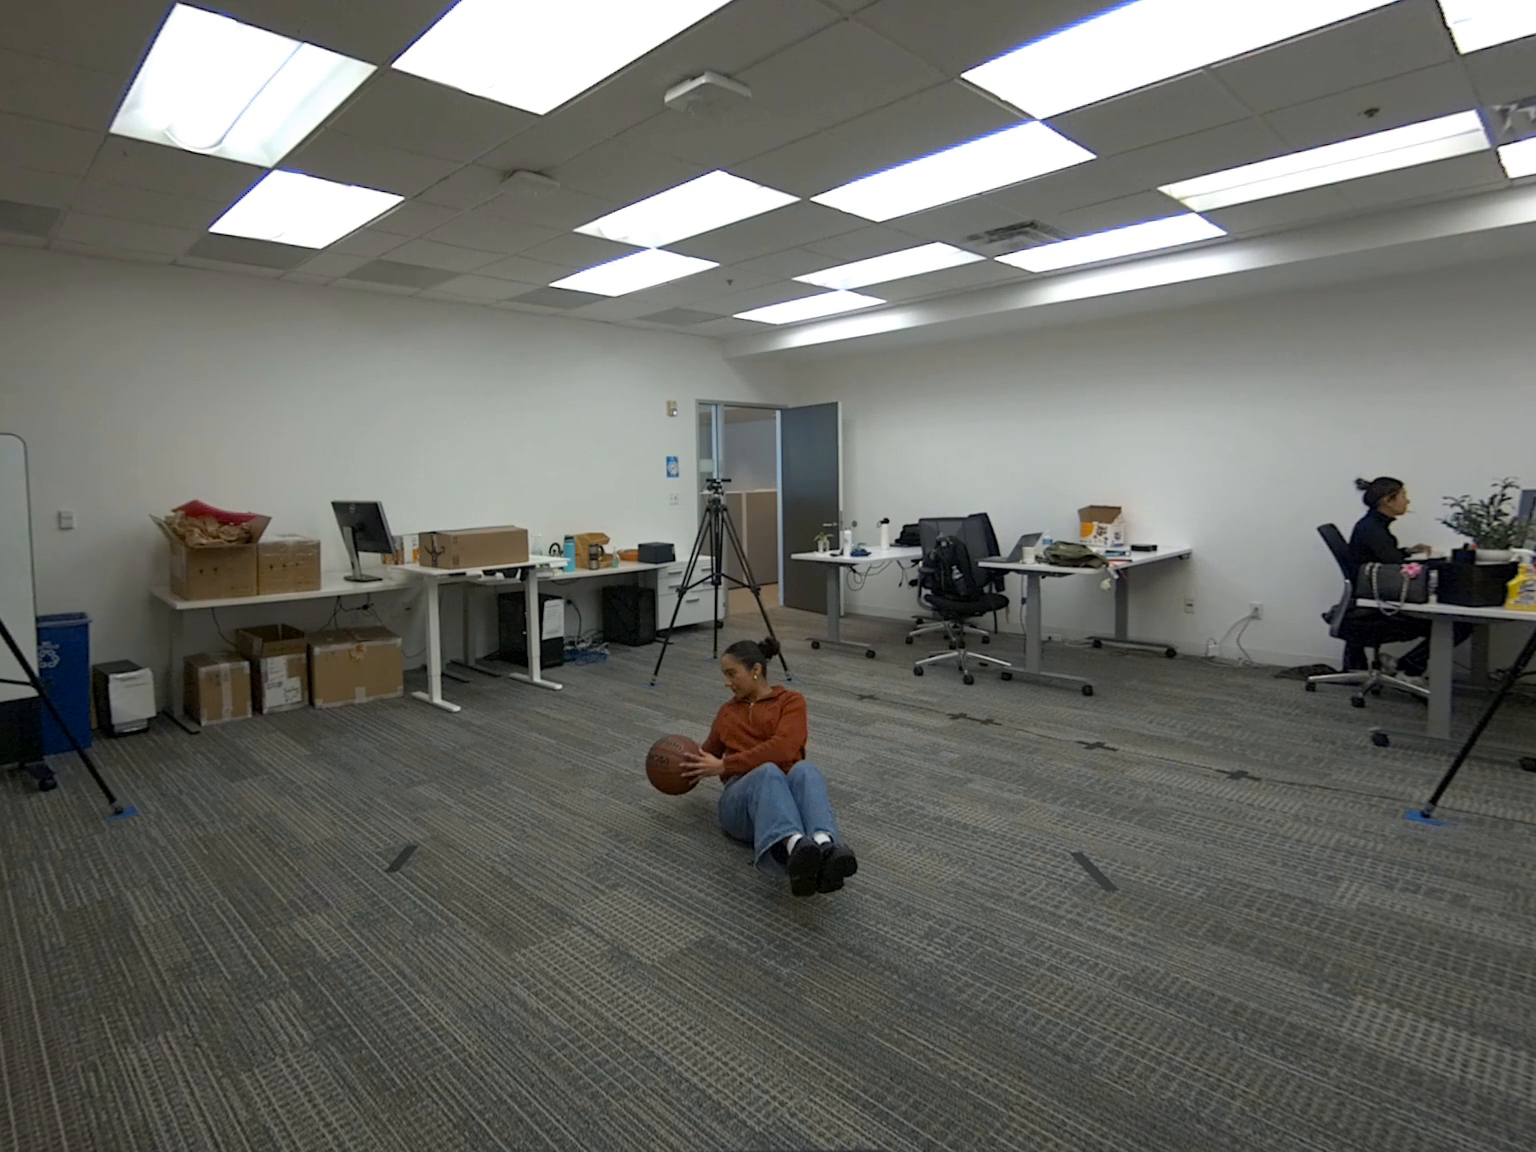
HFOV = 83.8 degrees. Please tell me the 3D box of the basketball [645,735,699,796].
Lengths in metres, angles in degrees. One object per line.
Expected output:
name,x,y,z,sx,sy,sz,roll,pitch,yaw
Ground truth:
basketball,-0.355,0.747,3.425,0.236,0.235,0.237,-1,5,-2
